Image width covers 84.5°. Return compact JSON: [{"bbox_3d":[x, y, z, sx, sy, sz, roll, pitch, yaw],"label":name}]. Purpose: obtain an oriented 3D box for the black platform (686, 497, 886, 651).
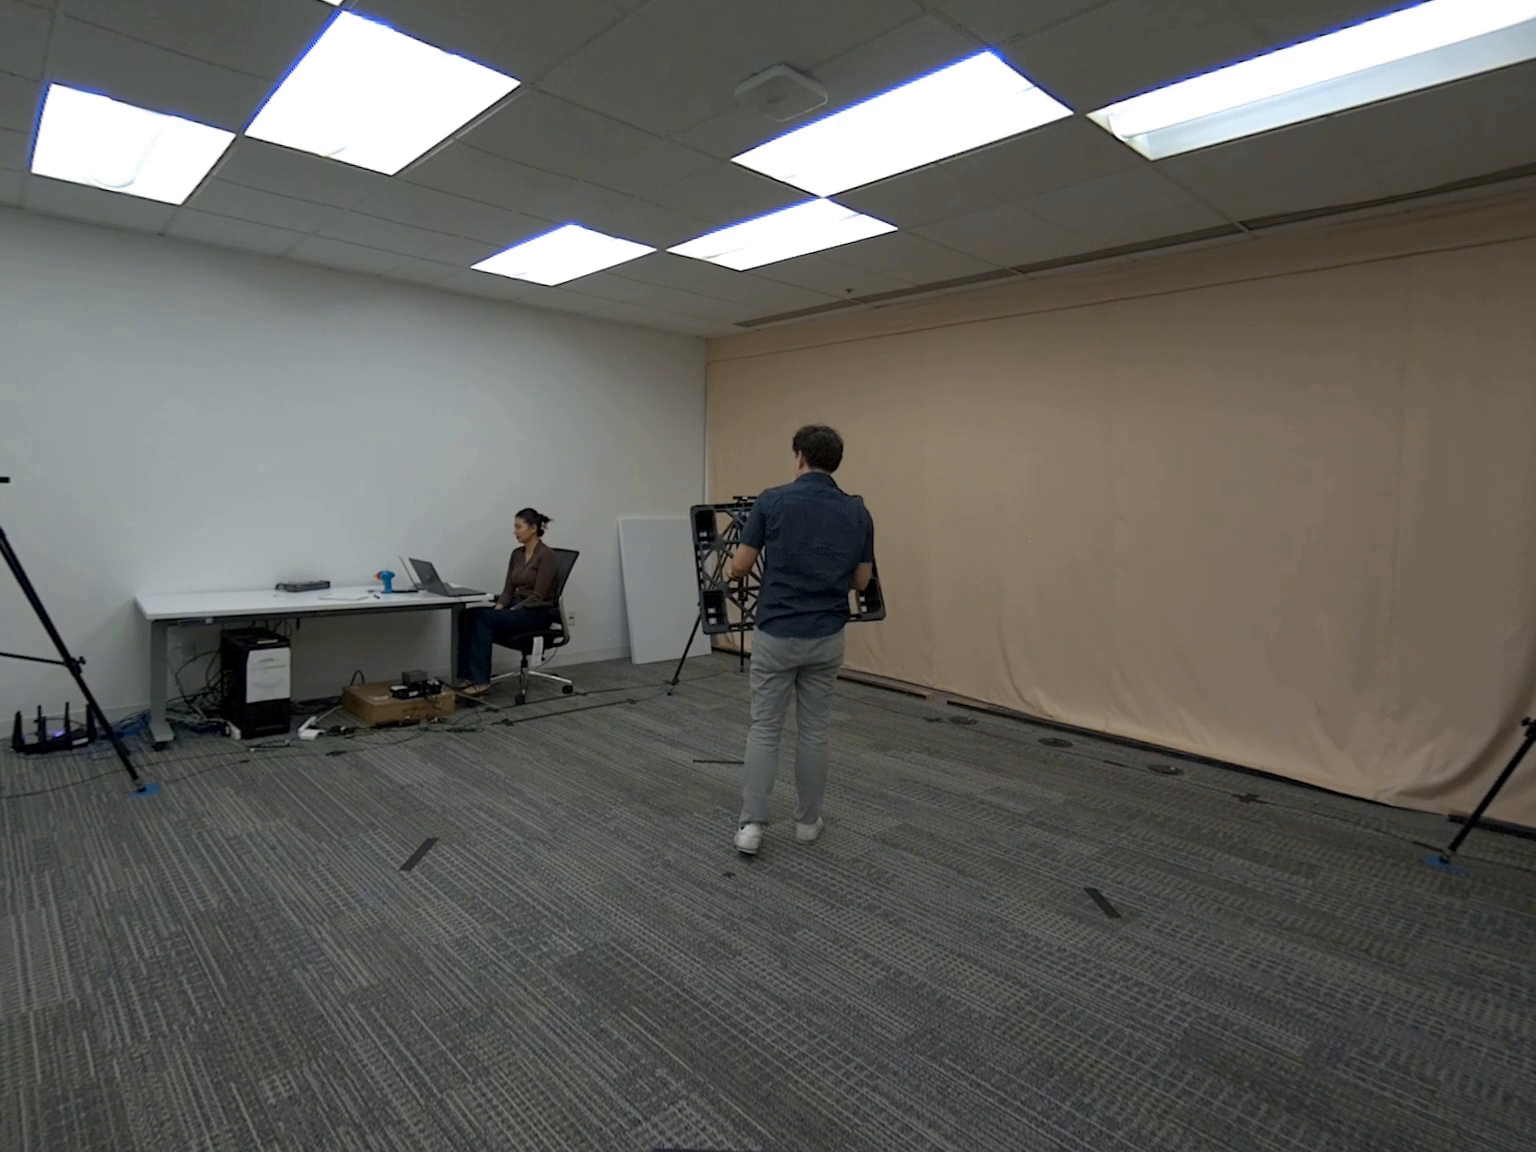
[{"bbox_3d":[0.065,-0.047,3.753,0.801,0.616,0.141,-4,-23,-8],"label":"black platform"}]
